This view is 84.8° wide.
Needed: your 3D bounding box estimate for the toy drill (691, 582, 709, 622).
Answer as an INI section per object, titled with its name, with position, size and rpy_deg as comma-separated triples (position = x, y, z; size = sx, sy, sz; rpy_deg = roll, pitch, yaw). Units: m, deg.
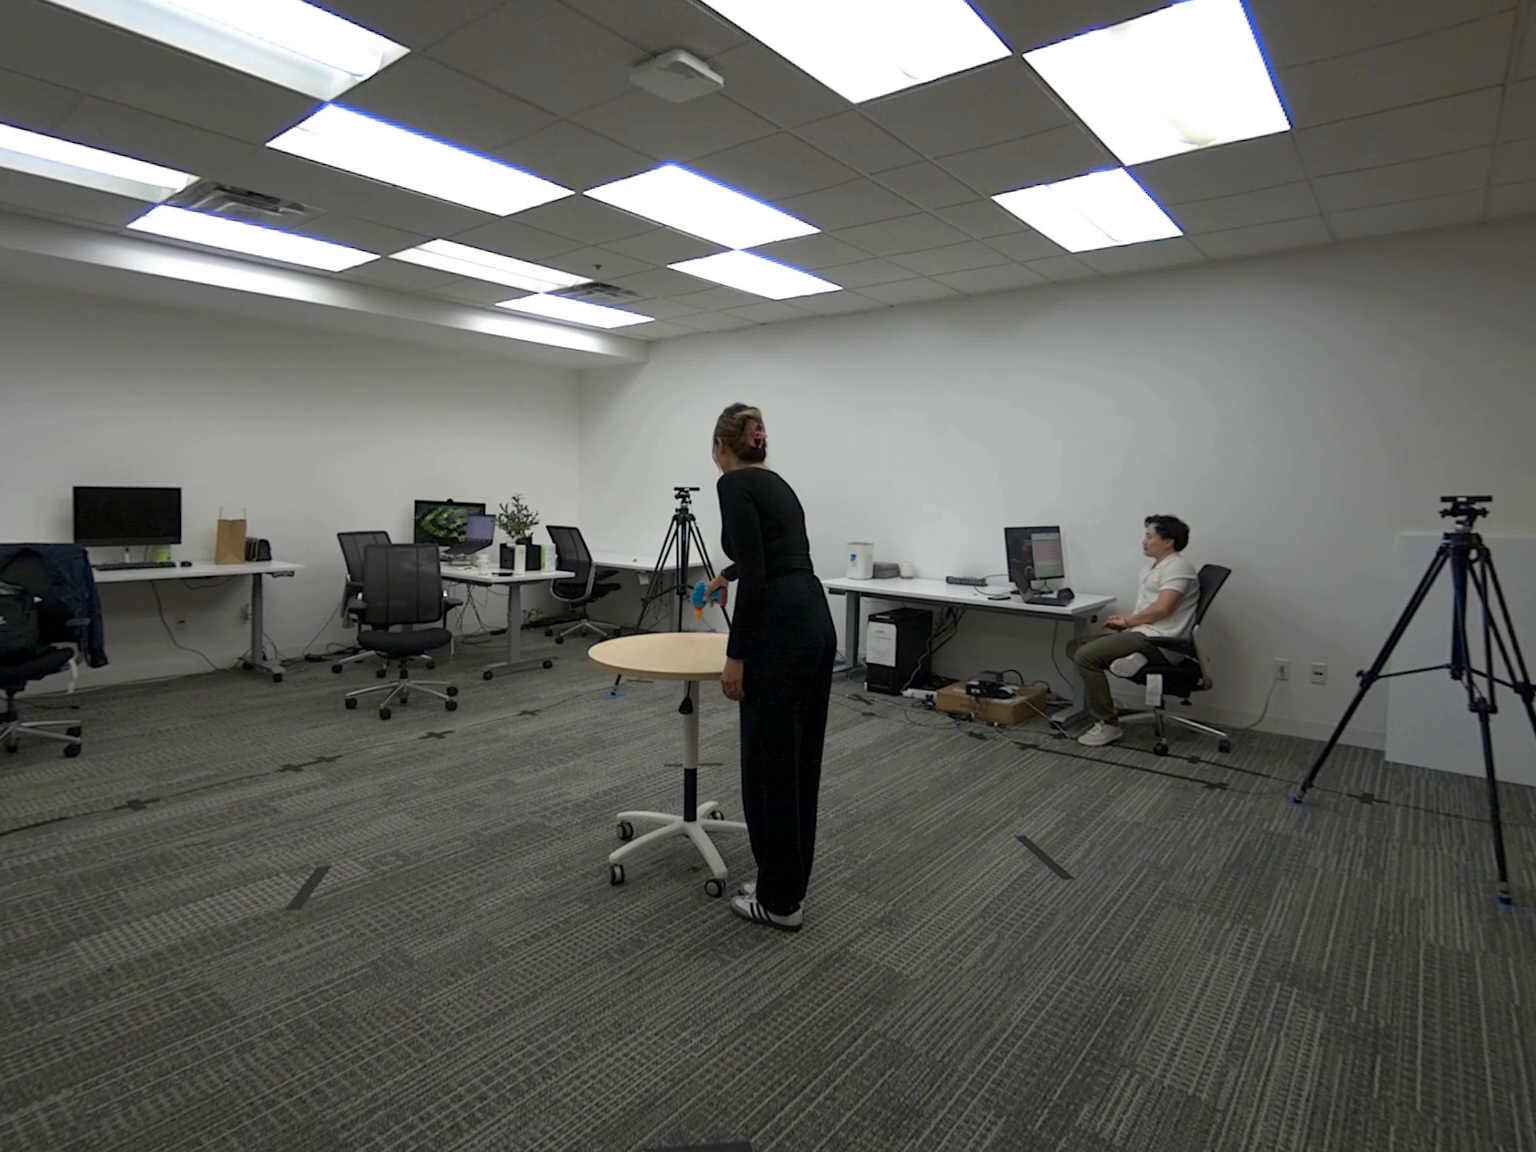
[toy drill]
position = -0.248, 0.116, 3.444
size = 0.150, 0.169, 0.059
rpy_deg = 7, 3, 25
